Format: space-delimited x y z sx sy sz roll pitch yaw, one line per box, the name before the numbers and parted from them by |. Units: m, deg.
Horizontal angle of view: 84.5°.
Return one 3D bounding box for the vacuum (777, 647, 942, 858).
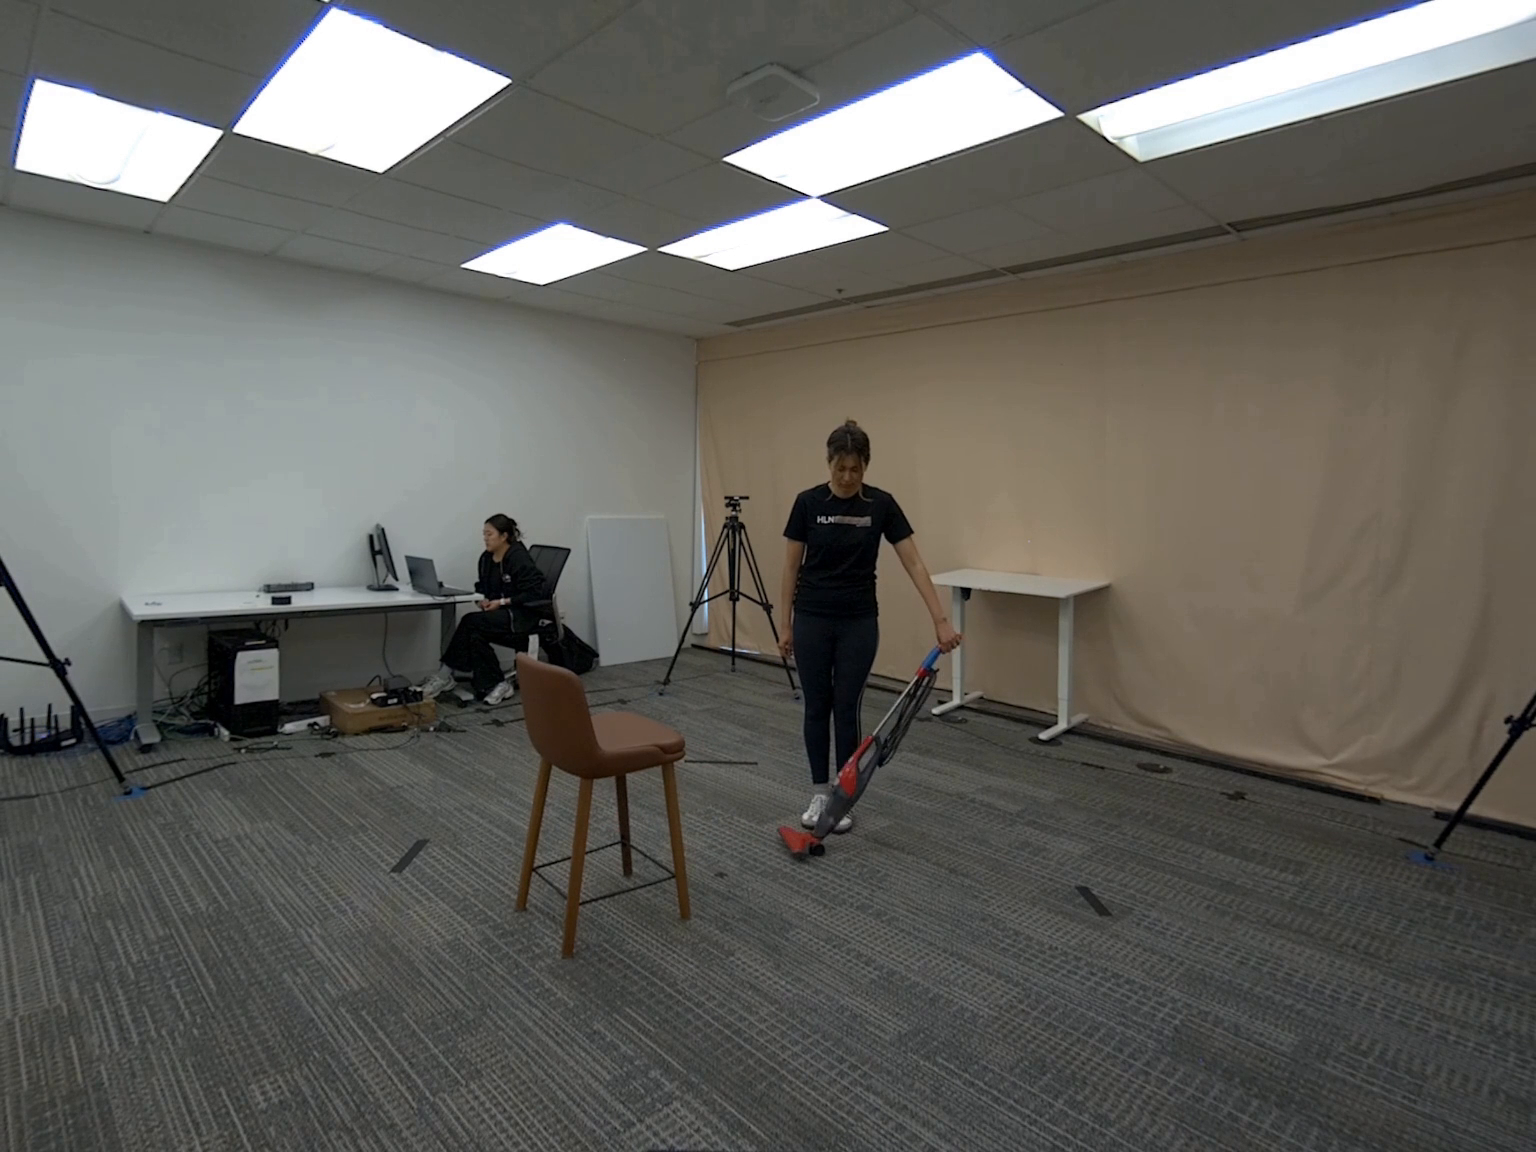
vacuum | 0.452 0.672 3.379 0.142 1.049 0.256 41 -5 -13
